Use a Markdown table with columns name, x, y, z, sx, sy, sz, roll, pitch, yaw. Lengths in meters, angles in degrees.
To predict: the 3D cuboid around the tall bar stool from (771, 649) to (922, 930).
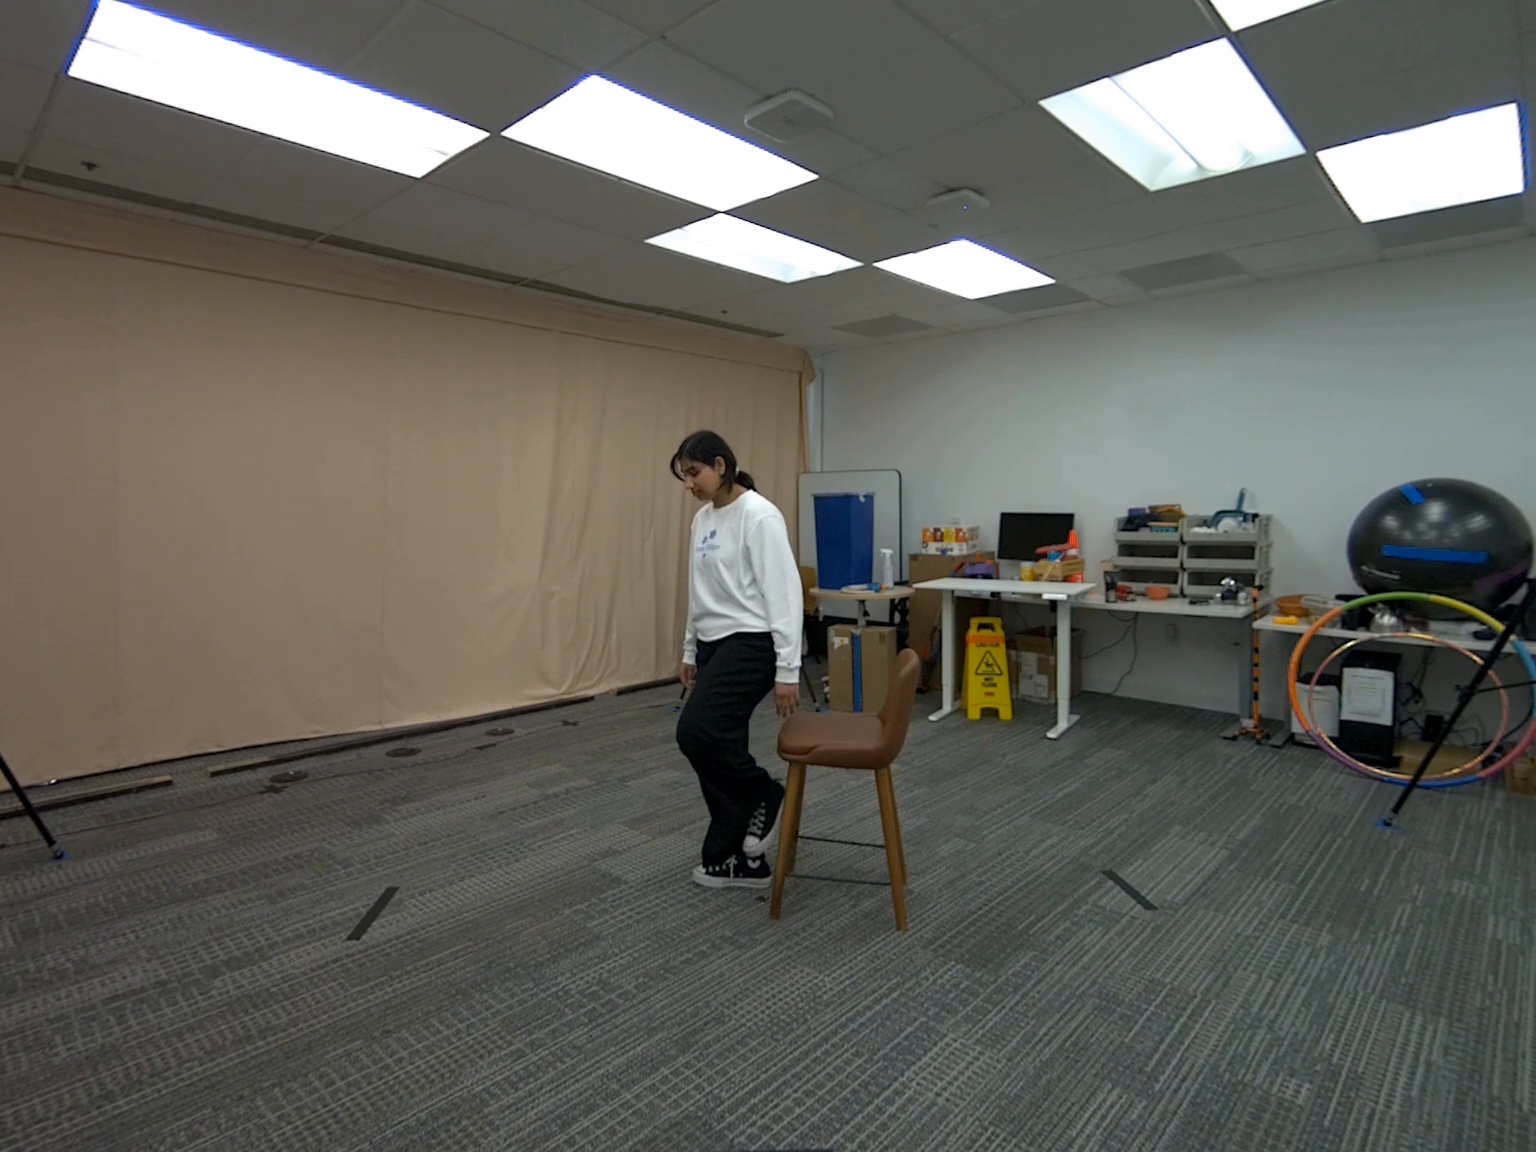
| name | x | y | z | sx | sy | sz | roll | pitch | yaw |
| --- | --- | --- | --- | --- | --- | --- | --- | --- | --- |
| tall bar stool | 0.276 | 0.711 | 2.957 | 0.474 | 0.888 | 0.451 | 2 | 4 | 11 |
